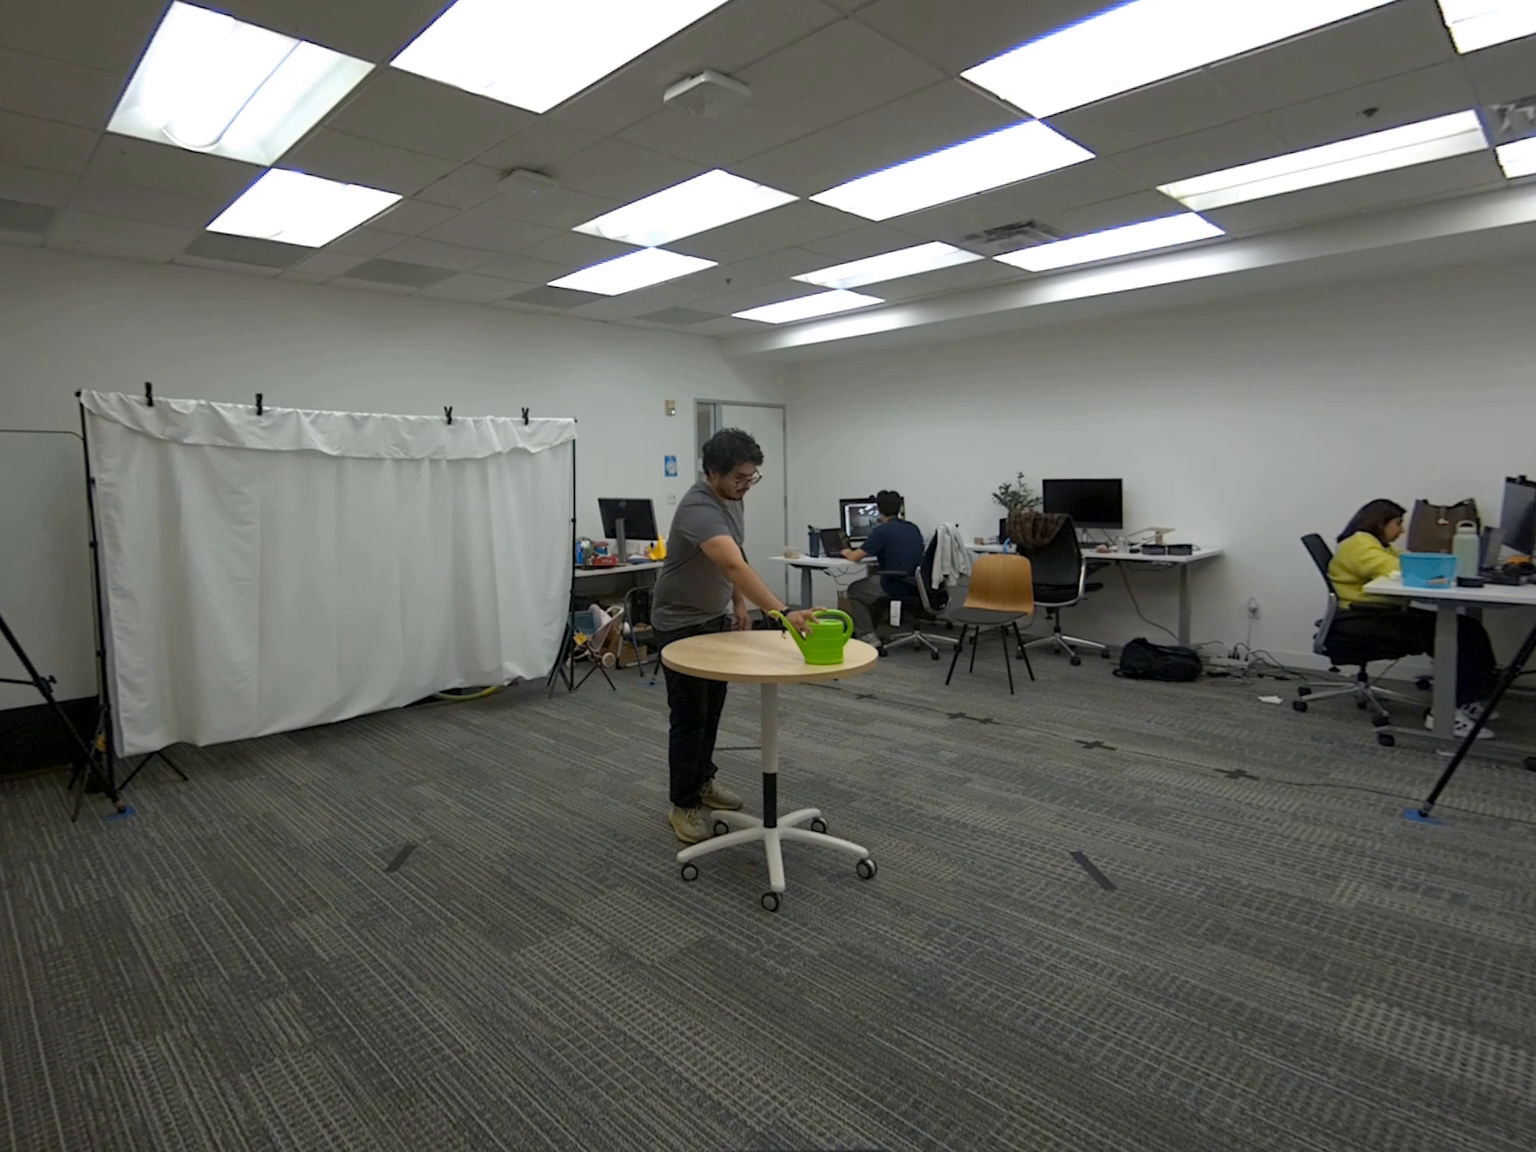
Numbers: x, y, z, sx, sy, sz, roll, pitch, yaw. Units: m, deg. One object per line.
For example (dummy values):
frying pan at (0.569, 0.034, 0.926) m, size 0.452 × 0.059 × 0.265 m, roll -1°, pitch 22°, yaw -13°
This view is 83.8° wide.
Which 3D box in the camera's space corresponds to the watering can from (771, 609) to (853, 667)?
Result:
watering can at (0.146, 0.201, 2.851) m, size 0.280 × 0.176 × 0.098 m, roll 2°, pitch 6°, yaw 6°
